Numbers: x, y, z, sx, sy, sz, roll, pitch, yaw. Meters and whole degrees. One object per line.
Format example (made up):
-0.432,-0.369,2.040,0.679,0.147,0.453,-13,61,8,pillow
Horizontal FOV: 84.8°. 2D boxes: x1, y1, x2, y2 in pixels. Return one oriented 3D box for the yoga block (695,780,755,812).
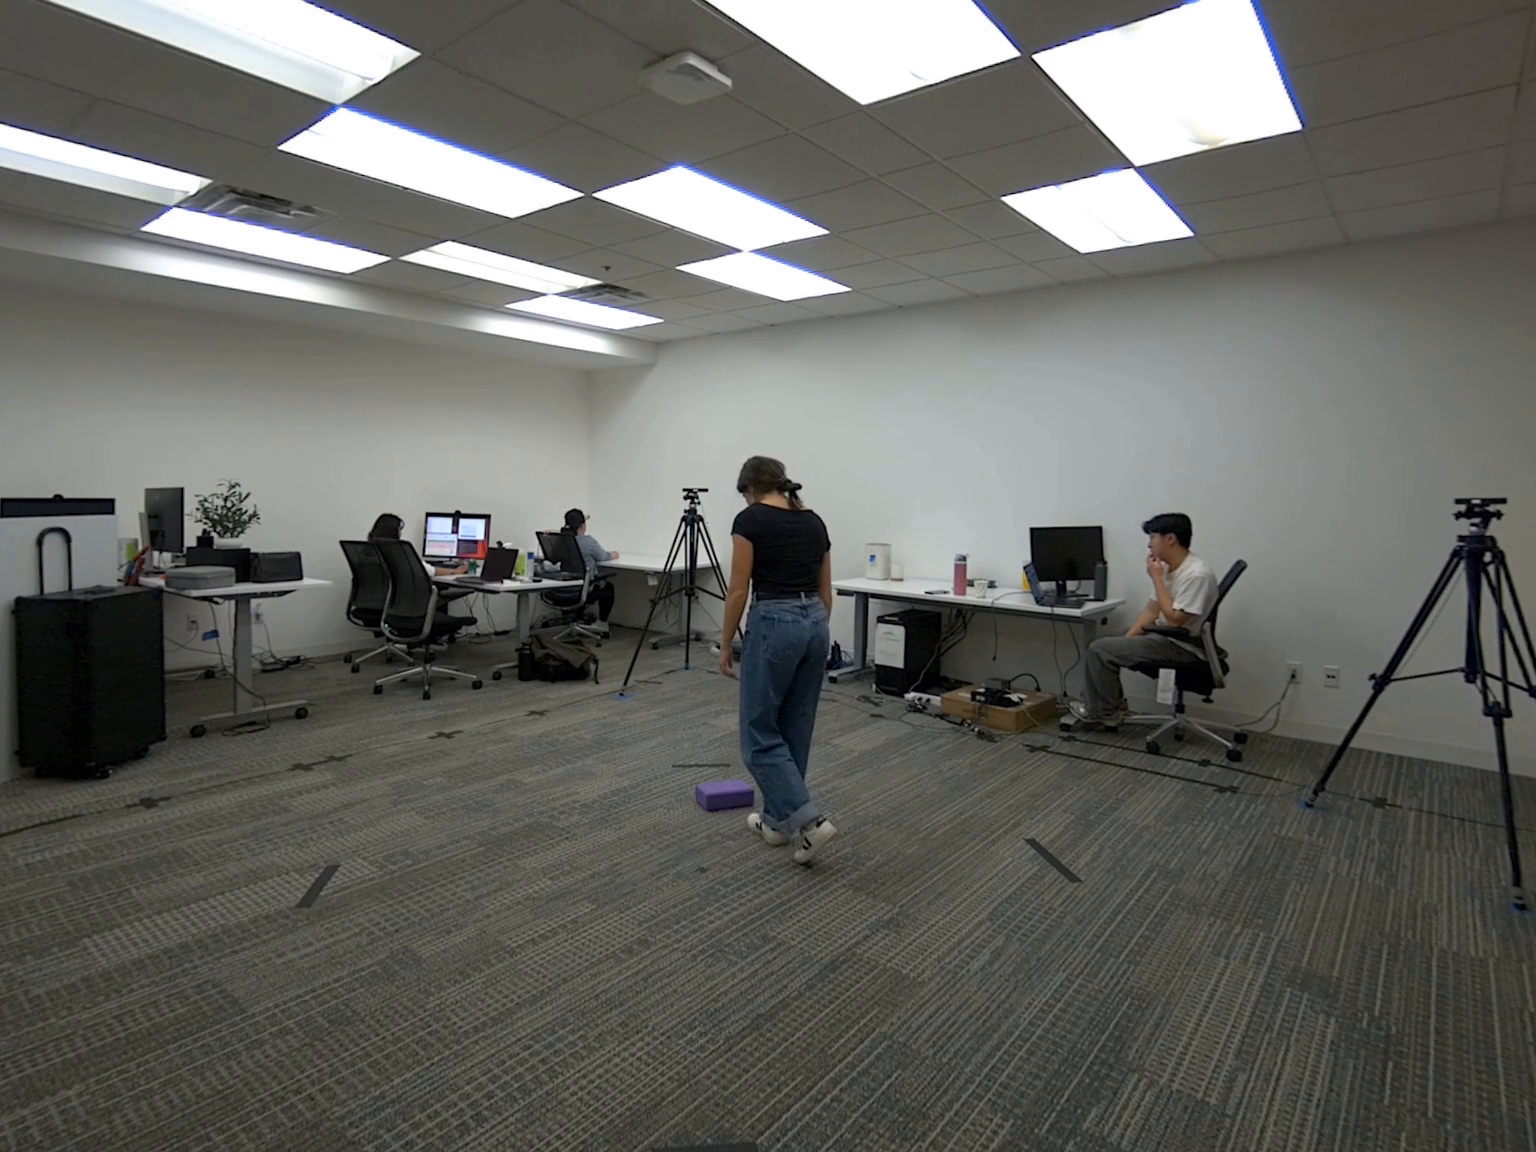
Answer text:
-0.188,0.960,3.775,0.224,0.076,0.153,-2,5,-23,yoga block
